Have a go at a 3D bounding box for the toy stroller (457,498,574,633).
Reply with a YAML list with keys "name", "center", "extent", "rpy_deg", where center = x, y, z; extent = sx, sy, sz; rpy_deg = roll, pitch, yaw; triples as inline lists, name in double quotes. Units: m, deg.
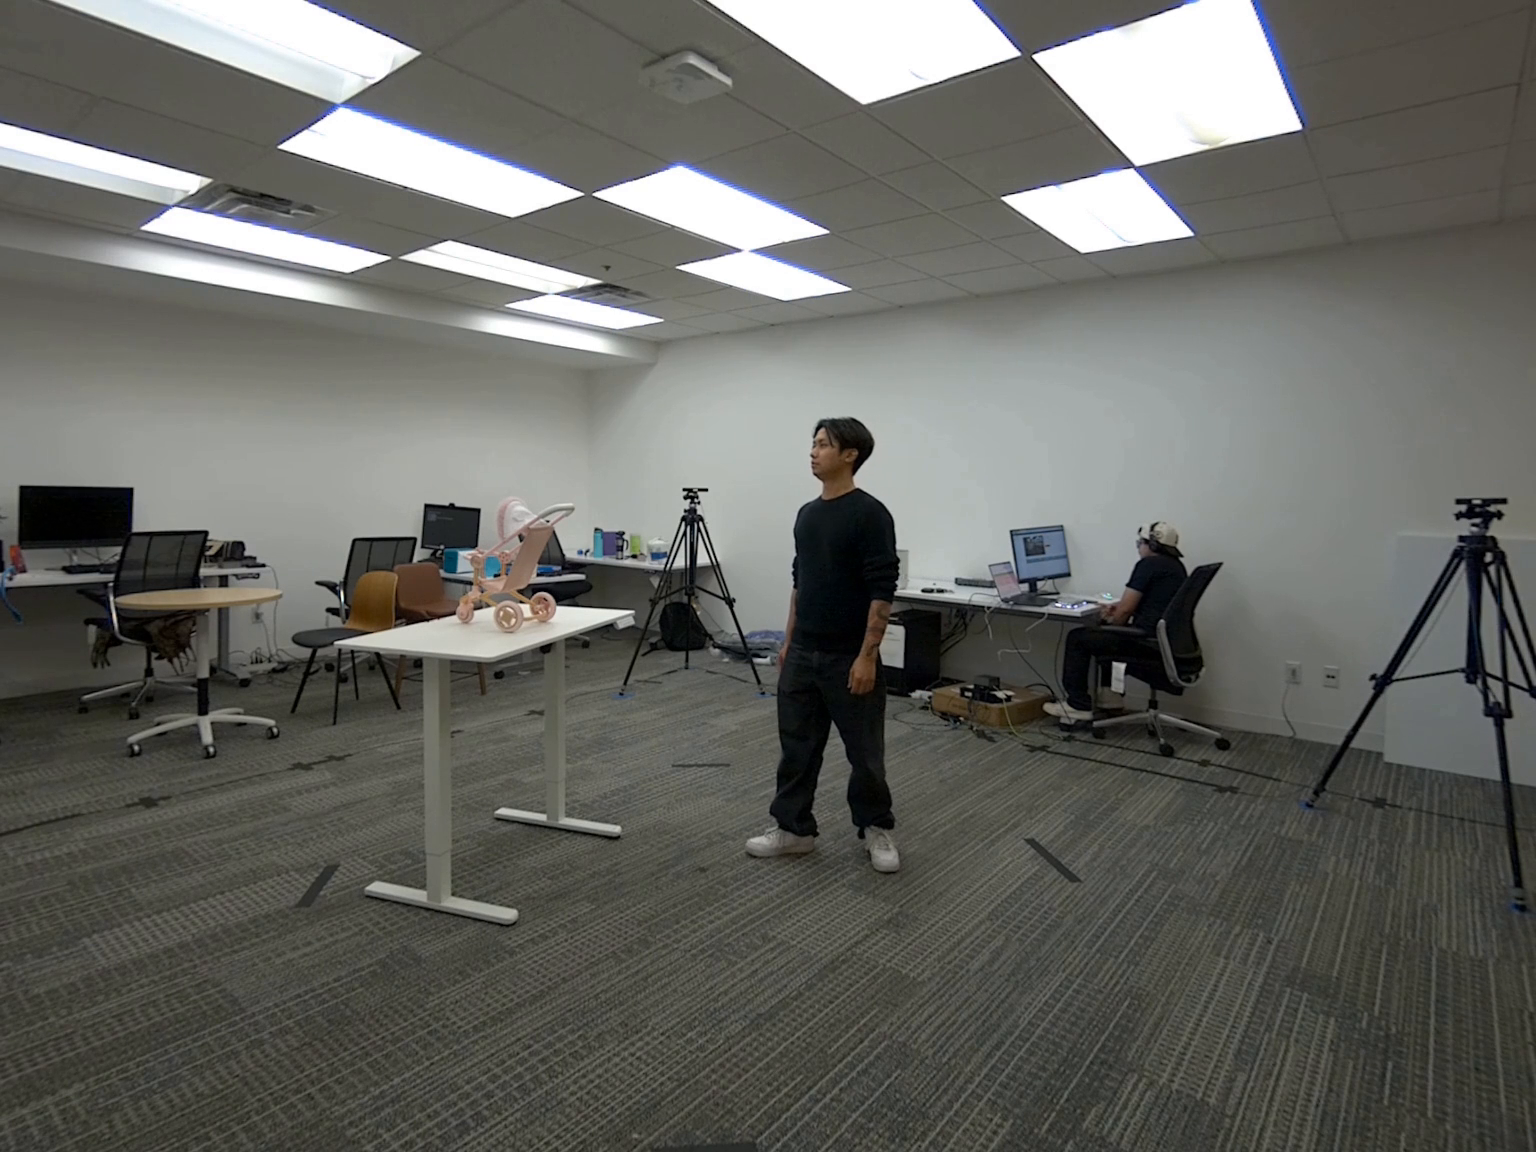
- name: "toy stroller"
  center: [-0.948, -0.045, 3.071]
  extent: [0.350, 0.532, 0.276]
  rpy_deg: [17, 9, 18]
